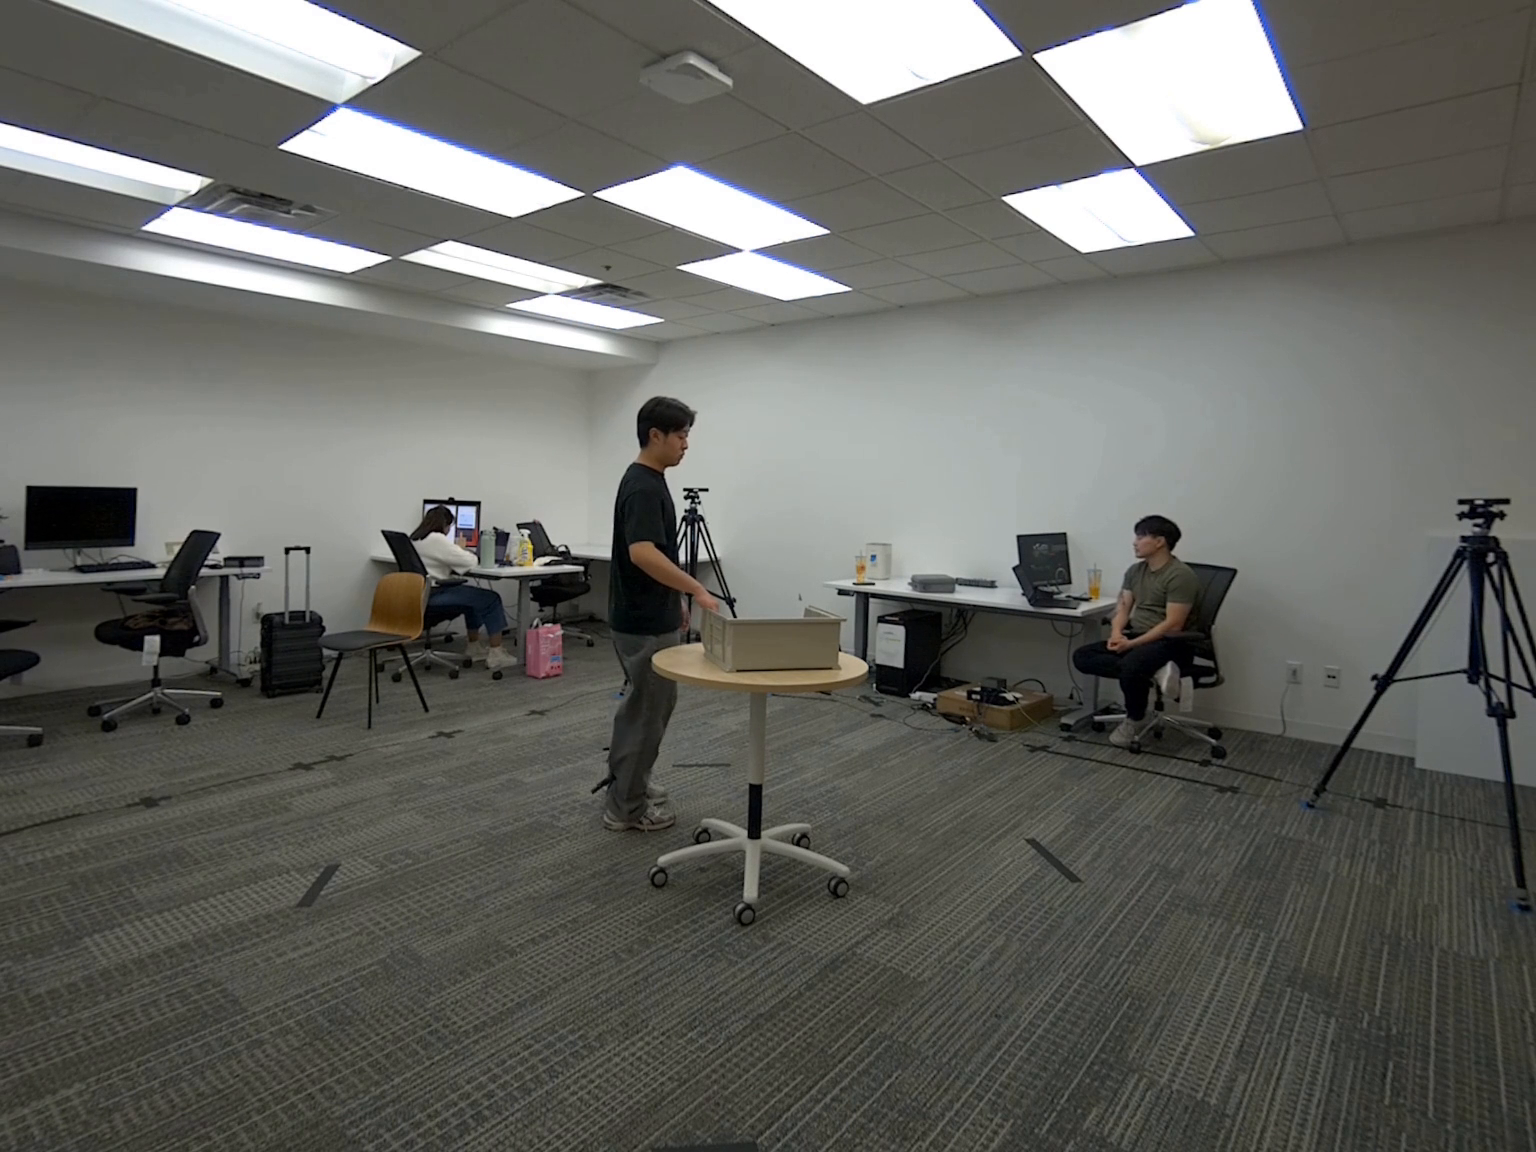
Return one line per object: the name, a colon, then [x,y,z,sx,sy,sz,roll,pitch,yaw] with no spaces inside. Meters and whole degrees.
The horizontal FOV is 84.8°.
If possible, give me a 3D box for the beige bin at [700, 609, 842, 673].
beige bin: [-0.003,0.207,3.026,0.415,0.188,0.386,0,6,-17]
